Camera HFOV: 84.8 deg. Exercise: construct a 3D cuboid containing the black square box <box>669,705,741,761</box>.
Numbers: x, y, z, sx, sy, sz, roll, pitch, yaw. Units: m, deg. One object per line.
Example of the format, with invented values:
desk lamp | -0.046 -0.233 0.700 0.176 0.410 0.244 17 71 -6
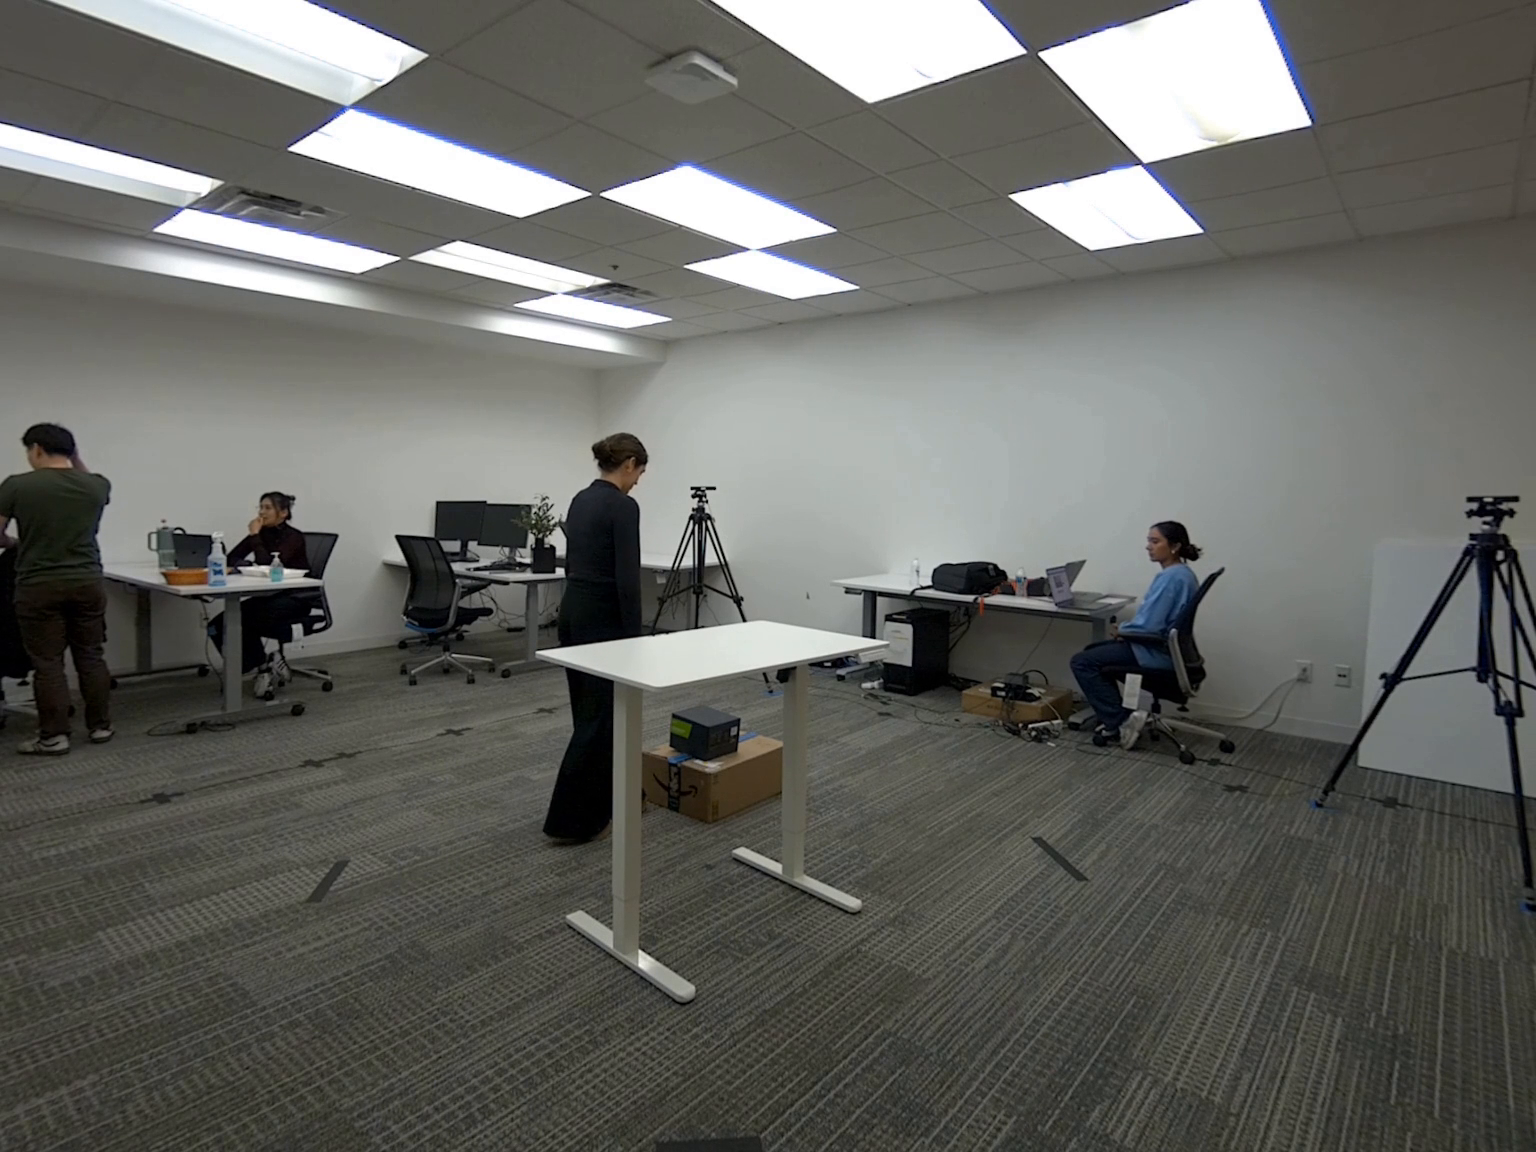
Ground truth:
black square box | -0.296 0.689 3.787 0.236 0.155 0.210 10 9 39
